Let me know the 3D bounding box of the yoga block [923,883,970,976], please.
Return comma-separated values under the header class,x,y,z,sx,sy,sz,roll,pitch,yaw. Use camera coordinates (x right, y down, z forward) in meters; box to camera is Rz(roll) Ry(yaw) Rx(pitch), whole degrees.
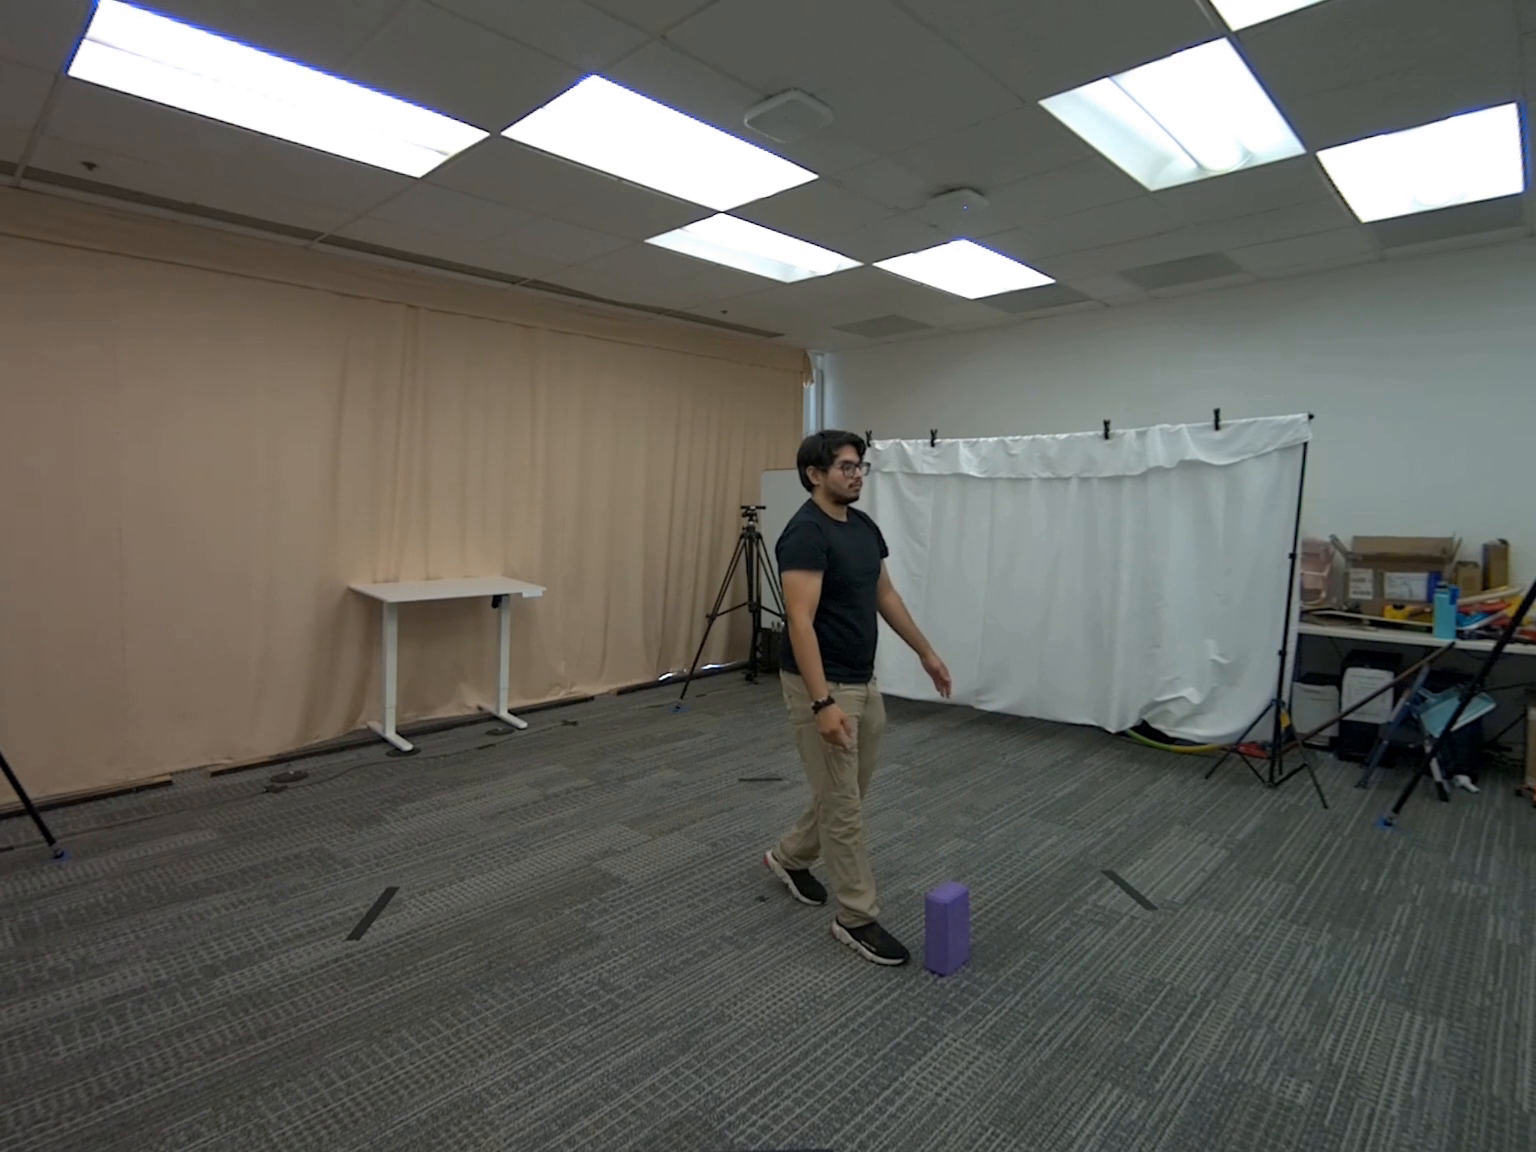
class,x,y,z,sx,sy,sz,roll,pitch,yaw
yoga block,0.549,1.062,2.543,0.079,0.229,0.144,1,4,43
